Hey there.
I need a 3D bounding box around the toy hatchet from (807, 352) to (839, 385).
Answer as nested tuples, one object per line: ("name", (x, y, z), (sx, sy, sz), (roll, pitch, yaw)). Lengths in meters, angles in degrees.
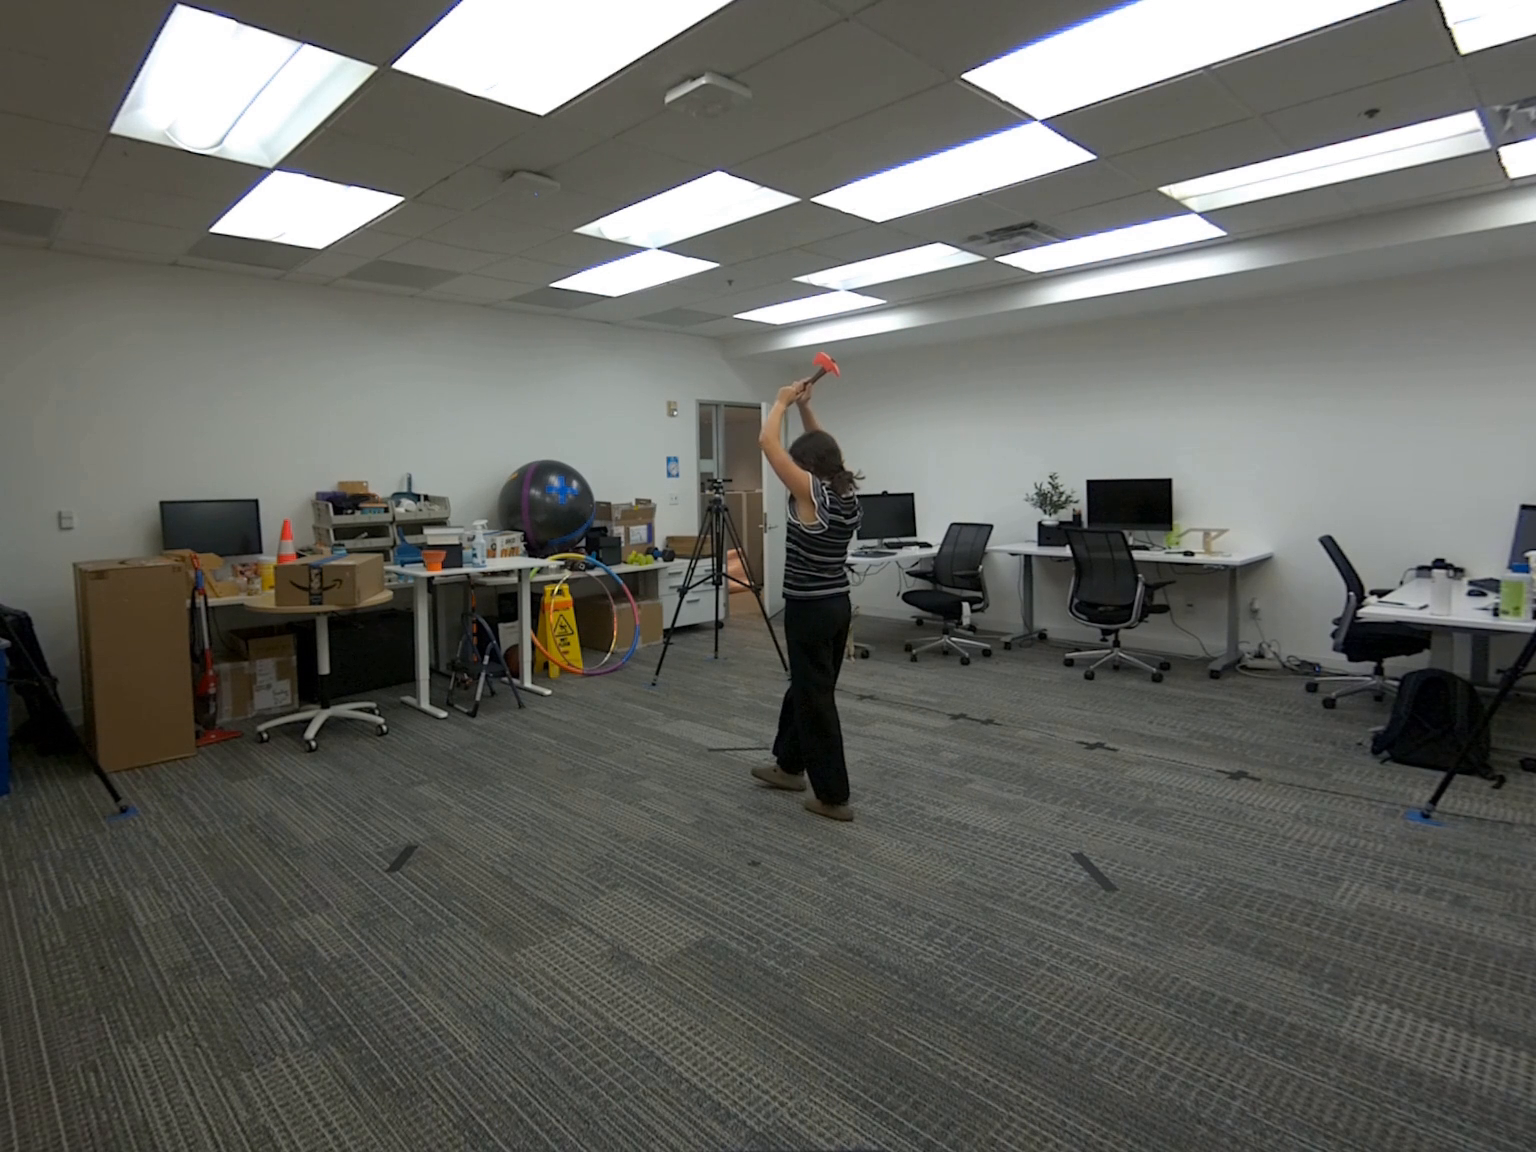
("toy hatchet", (0.157, -0.848, 3.578), (0.273, 0.131, 0.029), (-19, -1, 22))
